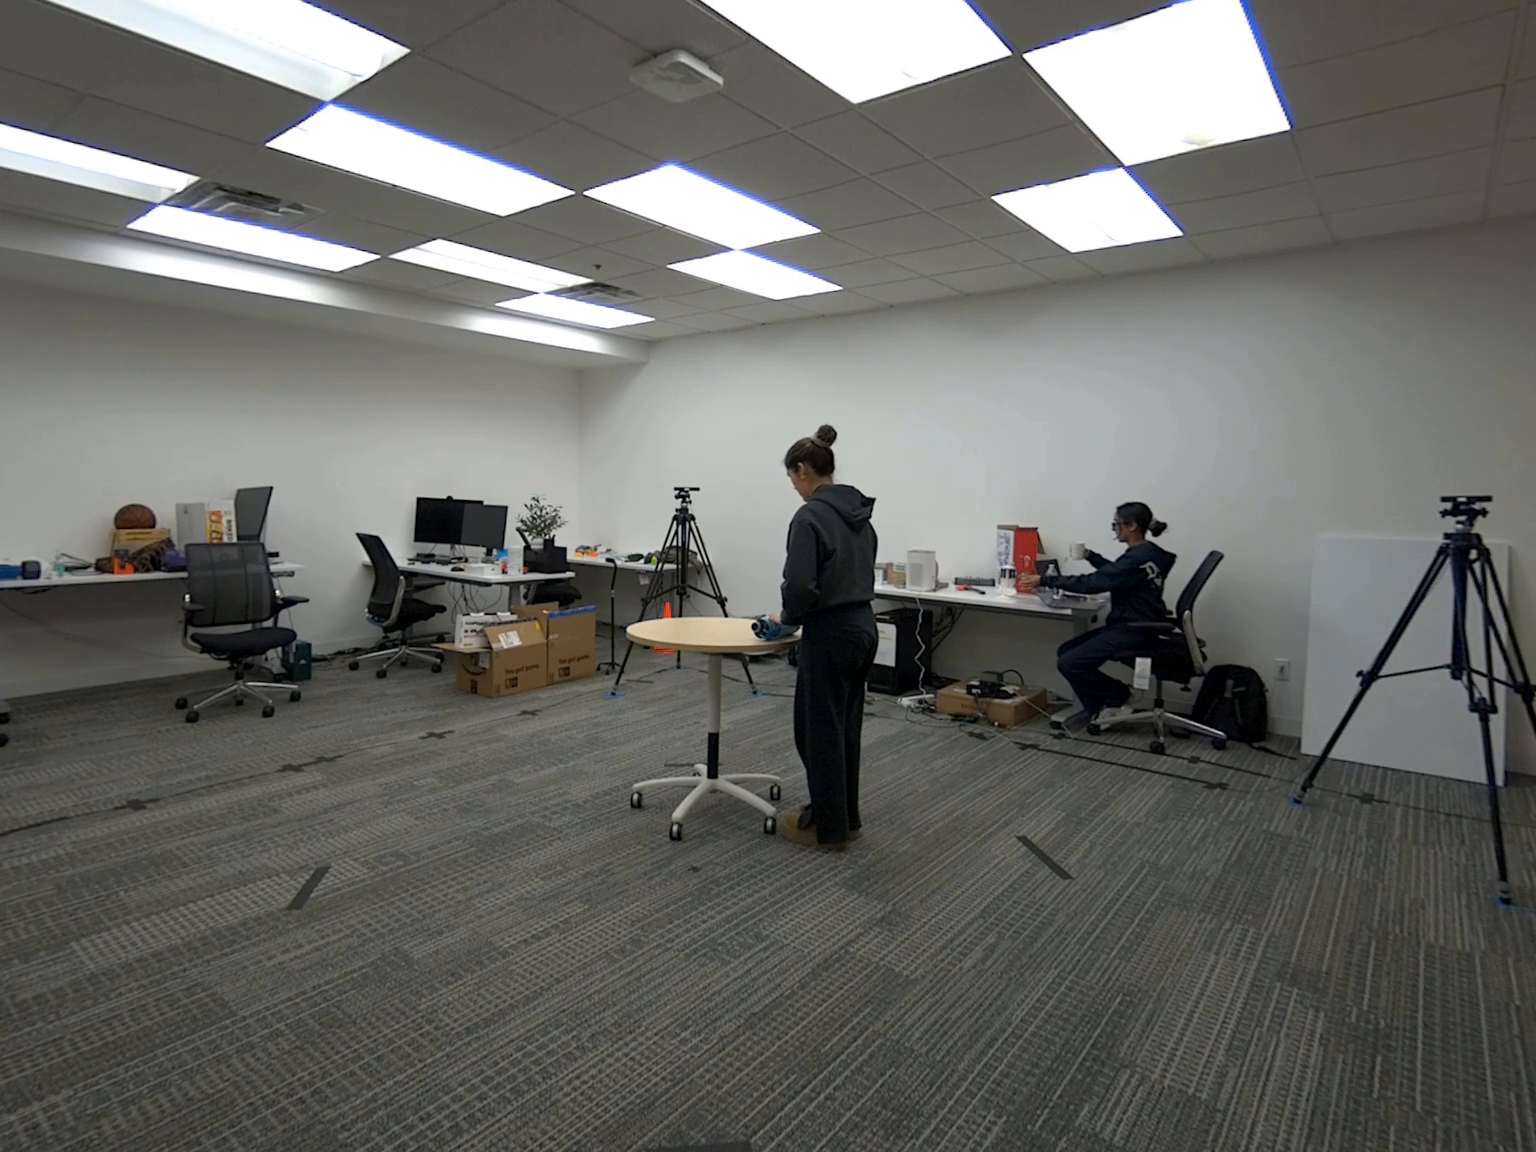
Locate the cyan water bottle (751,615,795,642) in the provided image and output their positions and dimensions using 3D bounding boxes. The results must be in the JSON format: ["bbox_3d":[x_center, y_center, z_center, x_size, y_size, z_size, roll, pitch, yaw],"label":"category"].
[{"bbox_3d":[0.020,0.200,3.508,0.095,0.092,0.276,3,6,33],"label":"cyan water bottle"}]
